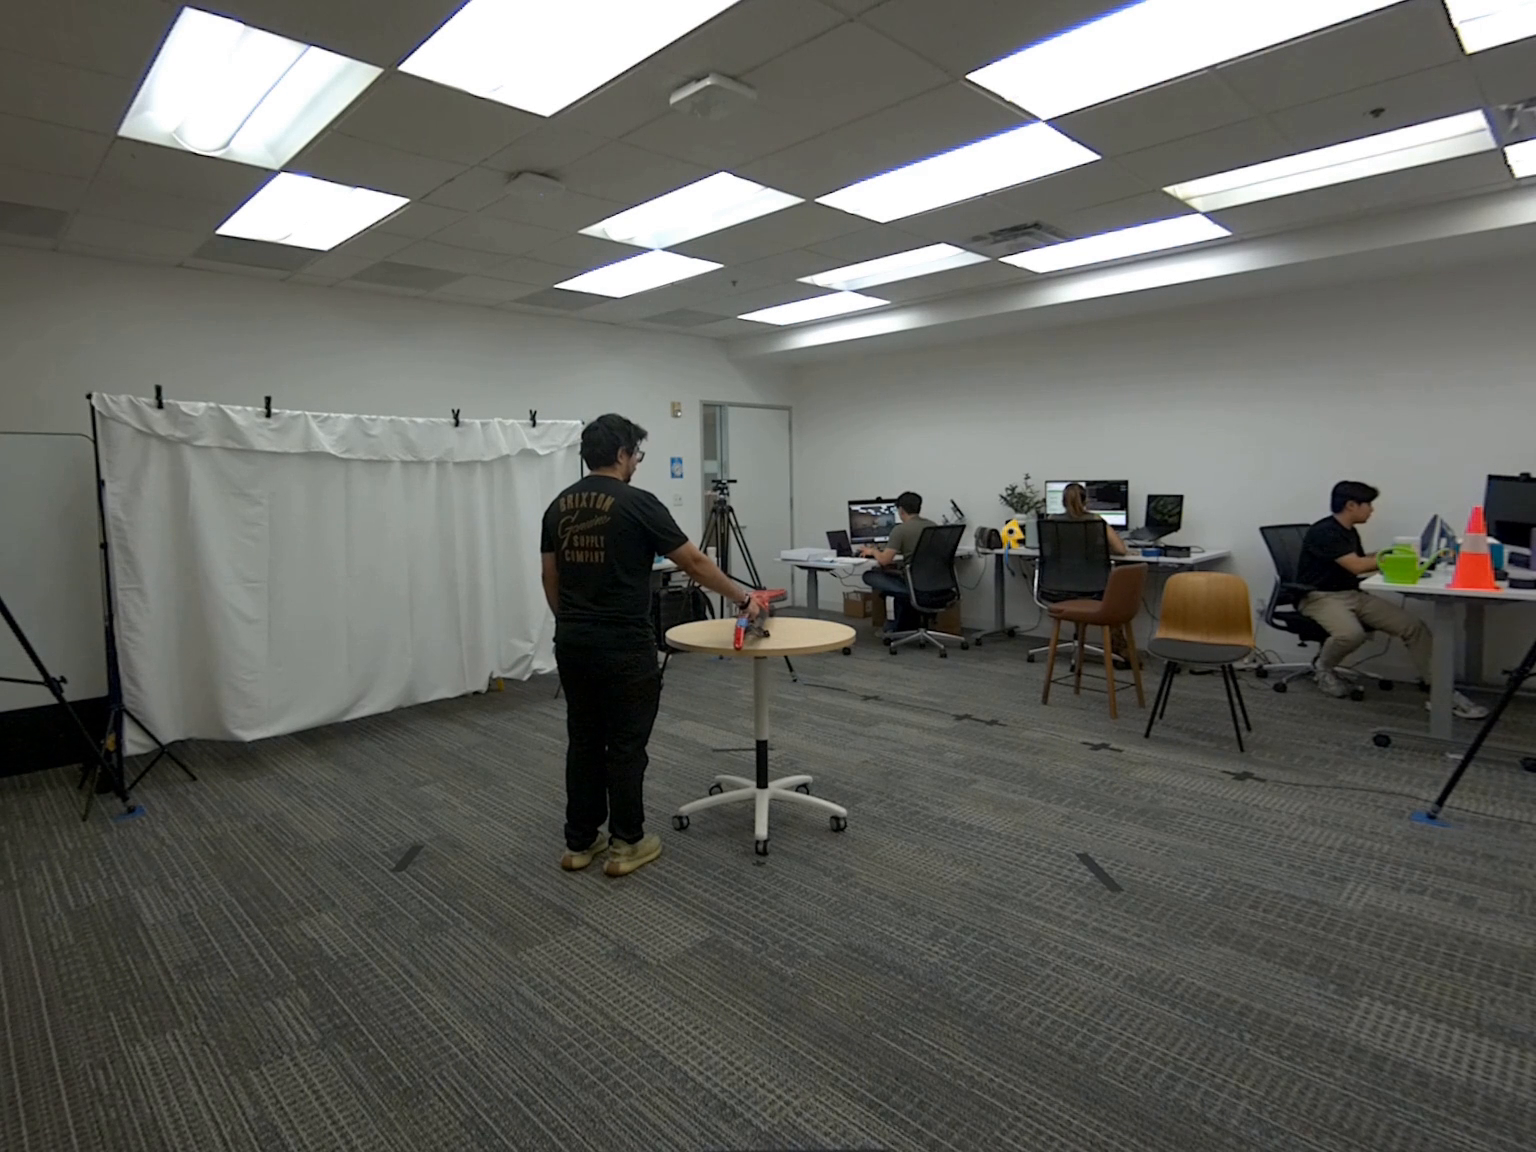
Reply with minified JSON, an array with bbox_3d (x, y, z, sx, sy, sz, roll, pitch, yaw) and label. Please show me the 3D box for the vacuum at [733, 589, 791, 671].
[{"bbox_3d":[-0.069,0.181,3.349,0.254,0.143,1.047,1,5,4],"label":"vacuum"}]
